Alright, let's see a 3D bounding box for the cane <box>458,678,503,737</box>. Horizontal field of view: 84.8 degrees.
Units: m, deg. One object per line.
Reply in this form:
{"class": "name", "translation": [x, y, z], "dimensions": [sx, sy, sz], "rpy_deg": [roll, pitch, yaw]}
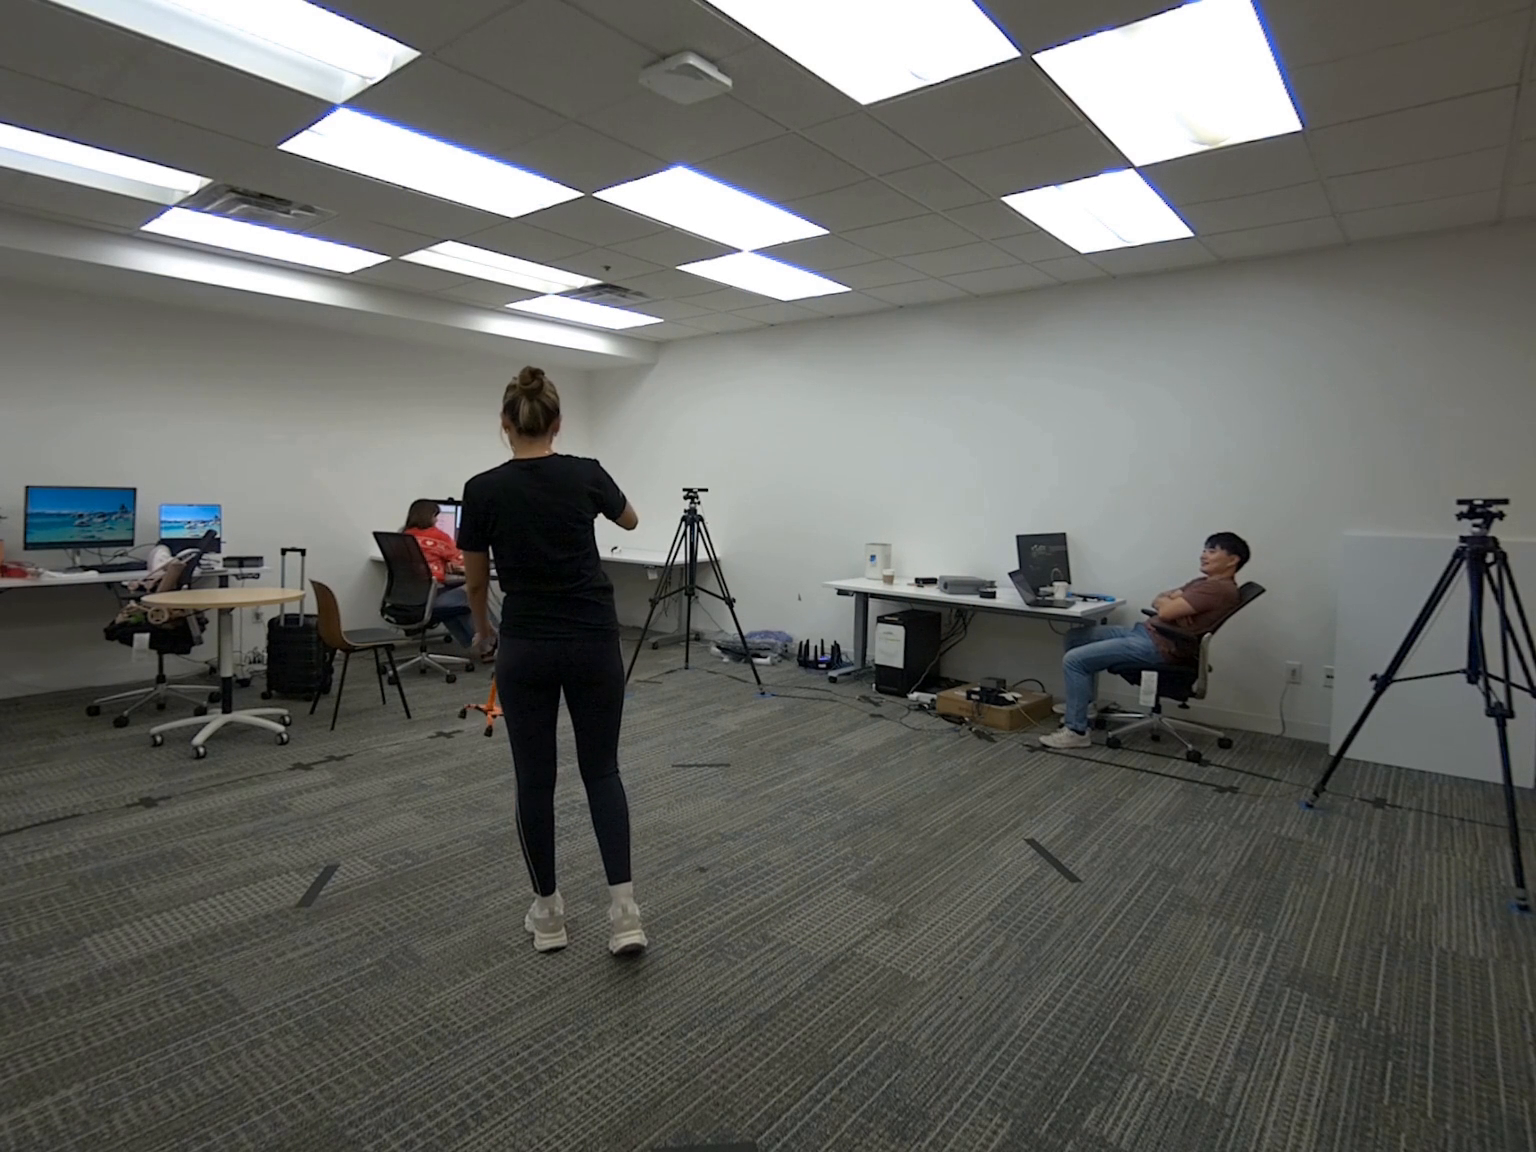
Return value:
{"class": "cane", "translation": [-0.882, 0.102, 2.972], "dimensions": [0.214, 0.908, 0.146], "rpy_deg": [13, 0, 33]}
